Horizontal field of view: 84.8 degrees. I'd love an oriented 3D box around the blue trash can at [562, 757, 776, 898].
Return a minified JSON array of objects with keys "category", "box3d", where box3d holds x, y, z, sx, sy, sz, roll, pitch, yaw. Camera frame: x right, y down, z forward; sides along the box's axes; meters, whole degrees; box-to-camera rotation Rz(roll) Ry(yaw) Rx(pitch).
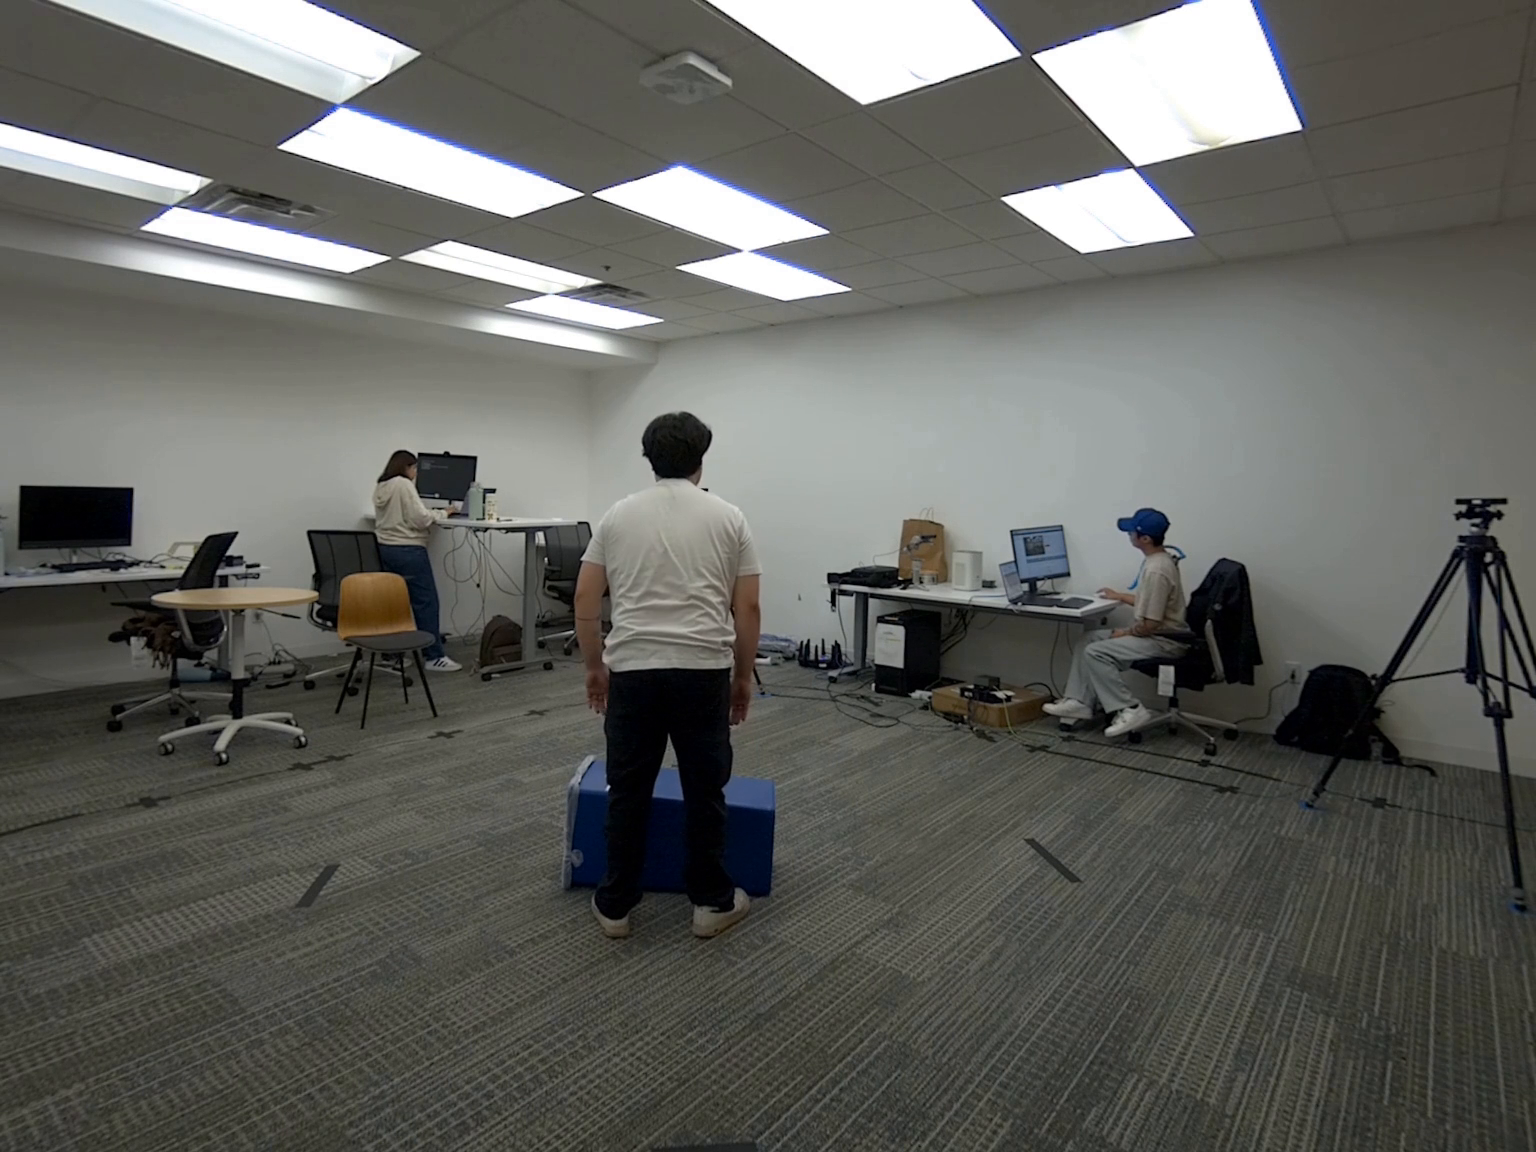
[{"category":"blue trash can","box3d":[-0.352,0.905,3.069,0.715,0.377,0.374,4,4,2]}]
